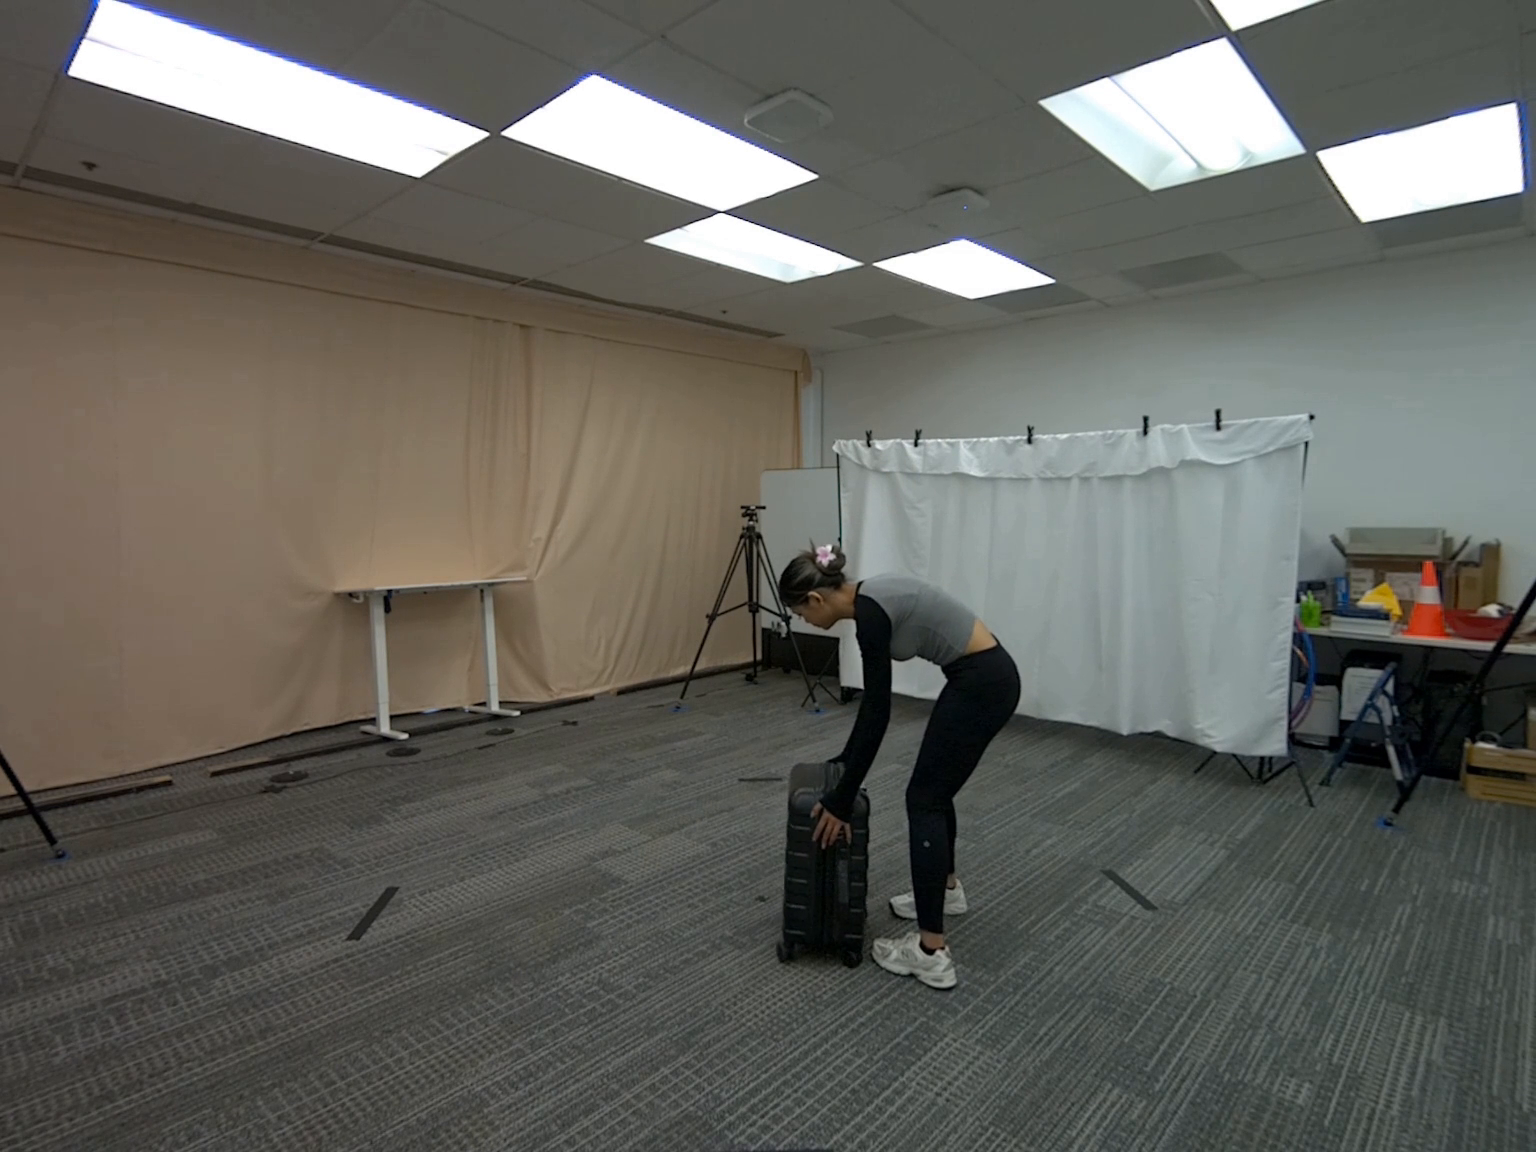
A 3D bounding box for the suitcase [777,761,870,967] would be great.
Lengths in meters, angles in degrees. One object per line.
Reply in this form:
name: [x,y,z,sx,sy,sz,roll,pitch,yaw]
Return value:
suitcase: [0.177,0.900,2.671,0.250,0.548,0.374,1,4,5]
